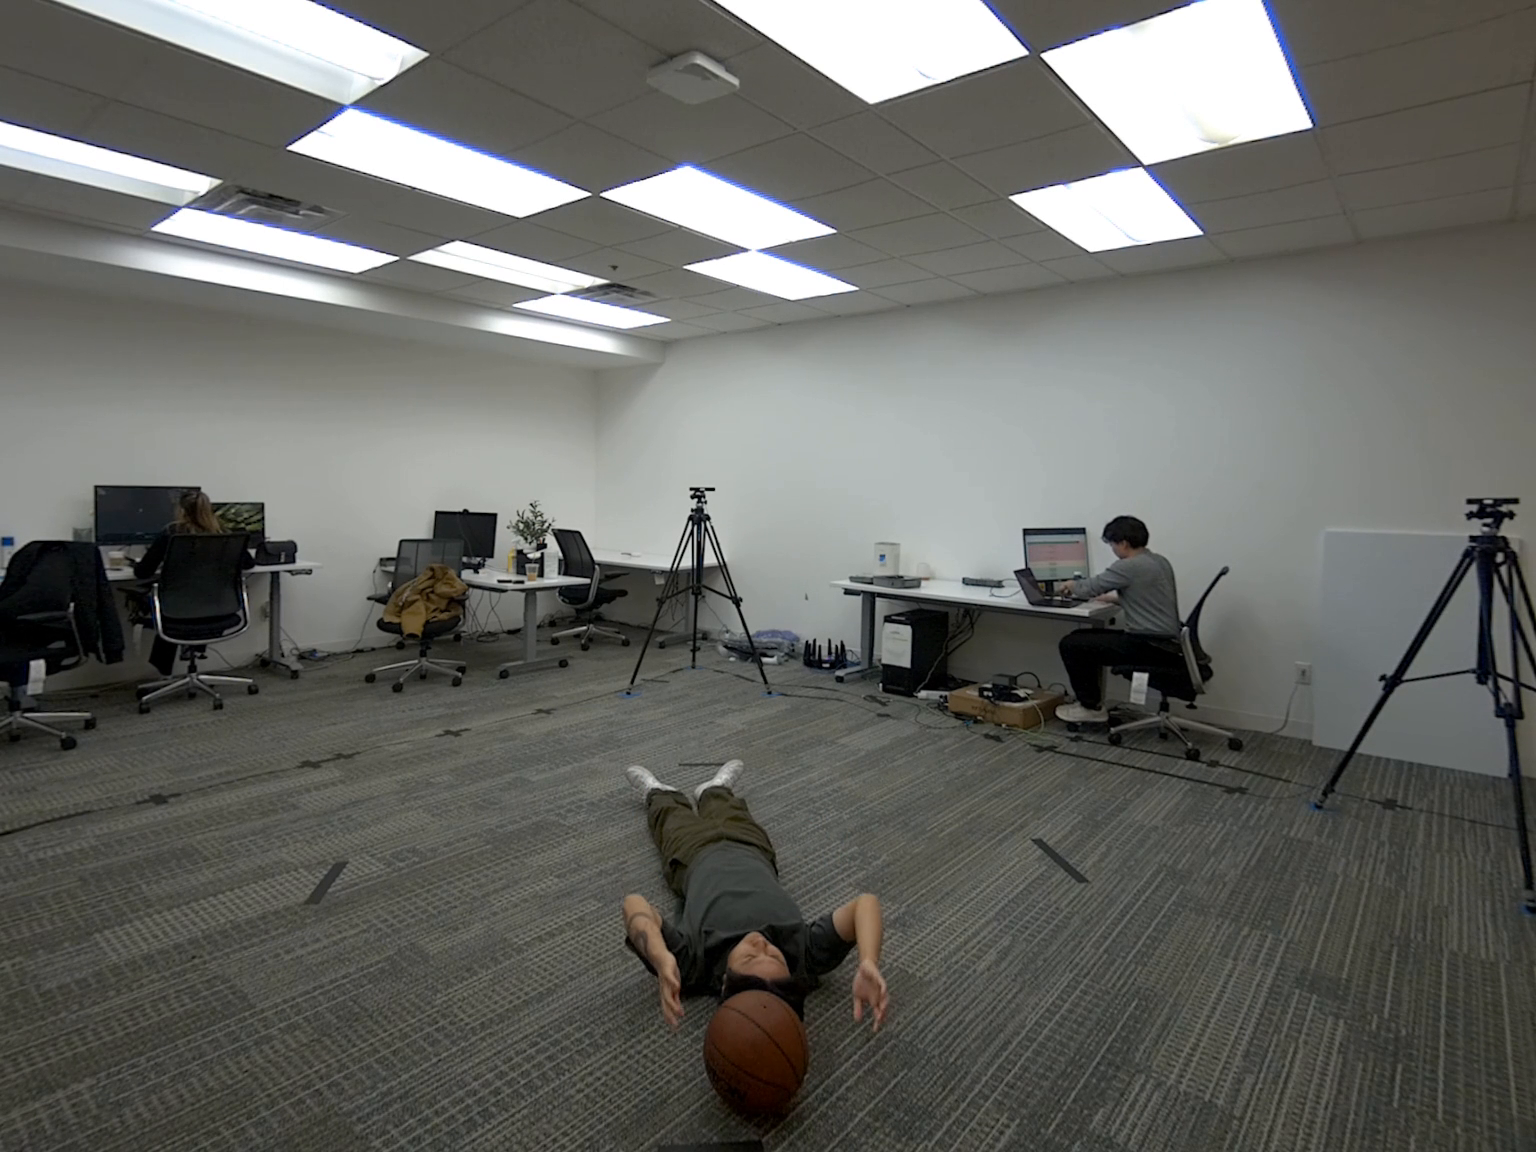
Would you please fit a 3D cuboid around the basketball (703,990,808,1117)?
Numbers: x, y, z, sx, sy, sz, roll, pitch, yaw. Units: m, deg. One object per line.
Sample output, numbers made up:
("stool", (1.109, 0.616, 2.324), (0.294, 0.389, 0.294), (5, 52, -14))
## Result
("basketball", (-0.035, 1.069, 1.927), (0.235, 0.235, 0.237), (1, 4, -2))
